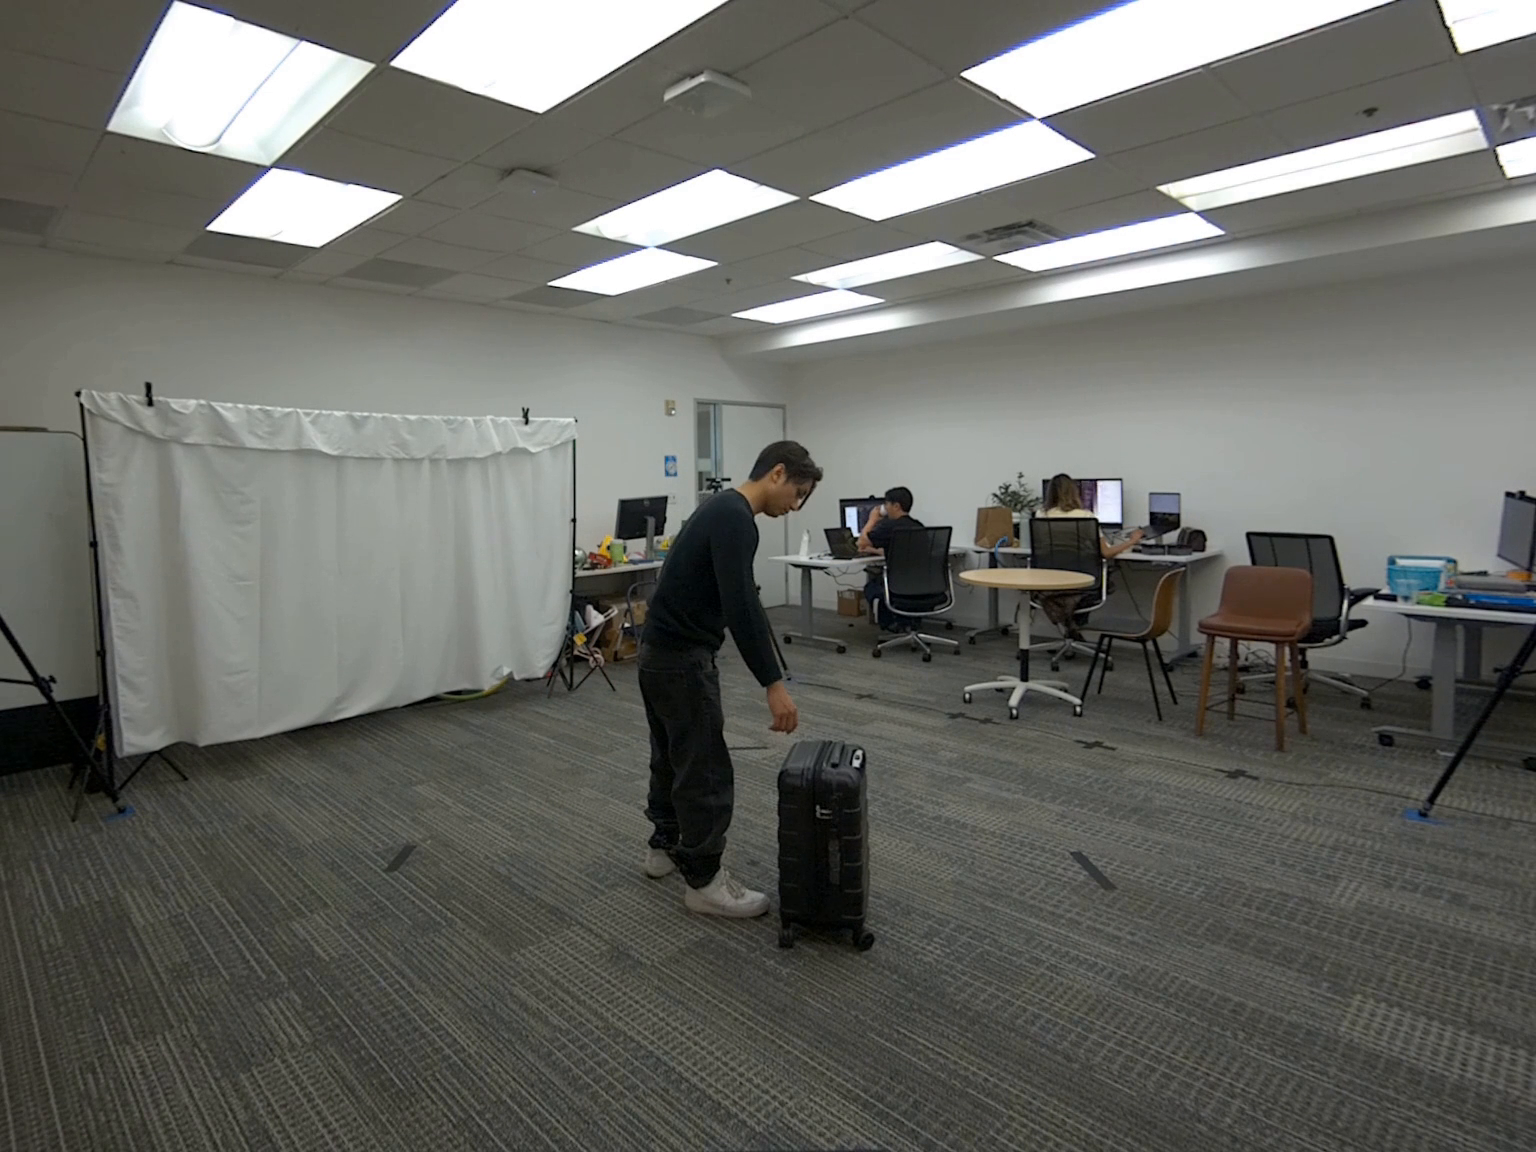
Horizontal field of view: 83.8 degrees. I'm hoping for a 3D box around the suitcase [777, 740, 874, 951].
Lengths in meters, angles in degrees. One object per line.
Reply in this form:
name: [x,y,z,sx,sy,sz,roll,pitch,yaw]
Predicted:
suitcase: [0.179,0.809,2.670,0.251,0.547,0.372,0,6,12]
